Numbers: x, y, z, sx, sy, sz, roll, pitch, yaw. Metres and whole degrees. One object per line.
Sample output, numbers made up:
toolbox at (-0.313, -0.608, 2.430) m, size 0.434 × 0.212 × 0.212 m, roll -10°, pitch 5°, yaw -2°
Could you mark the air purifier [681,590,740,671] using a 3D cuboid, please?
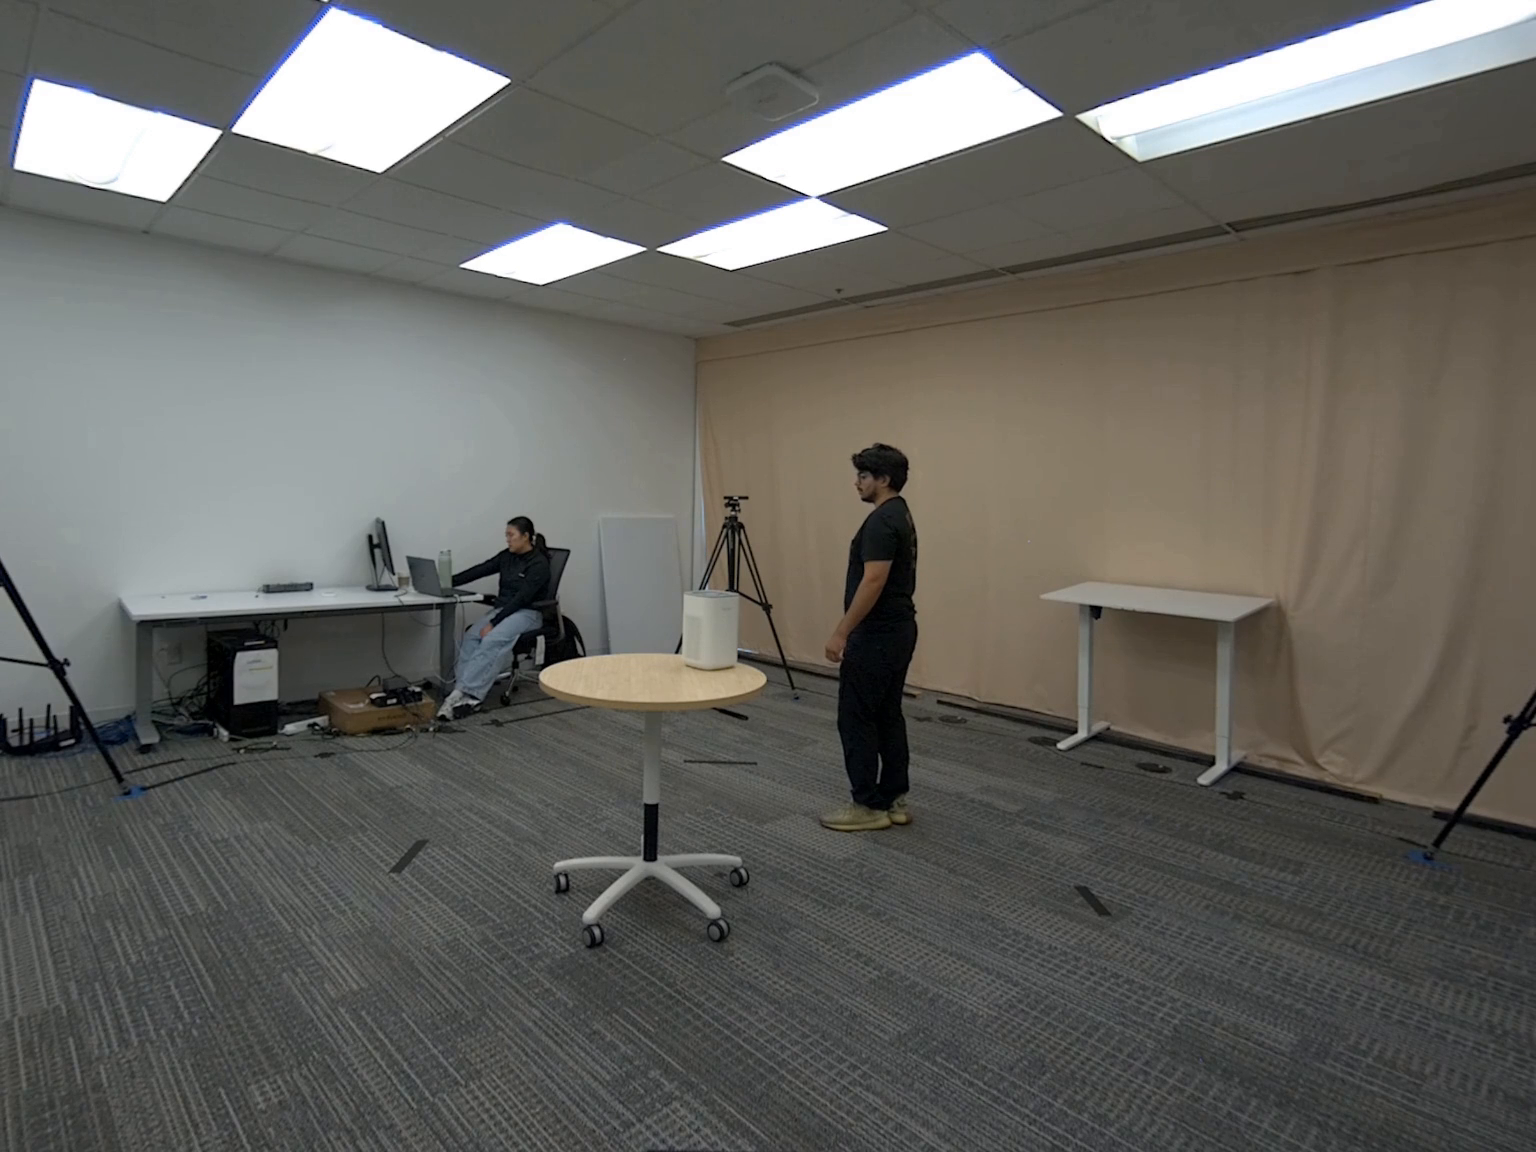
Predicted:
air purifier at (-0.213, 0.192, 3.025) m, size 0.167 × 0.265 × 0.176 m, roll -1°, pitch 5°, yaw -44°
